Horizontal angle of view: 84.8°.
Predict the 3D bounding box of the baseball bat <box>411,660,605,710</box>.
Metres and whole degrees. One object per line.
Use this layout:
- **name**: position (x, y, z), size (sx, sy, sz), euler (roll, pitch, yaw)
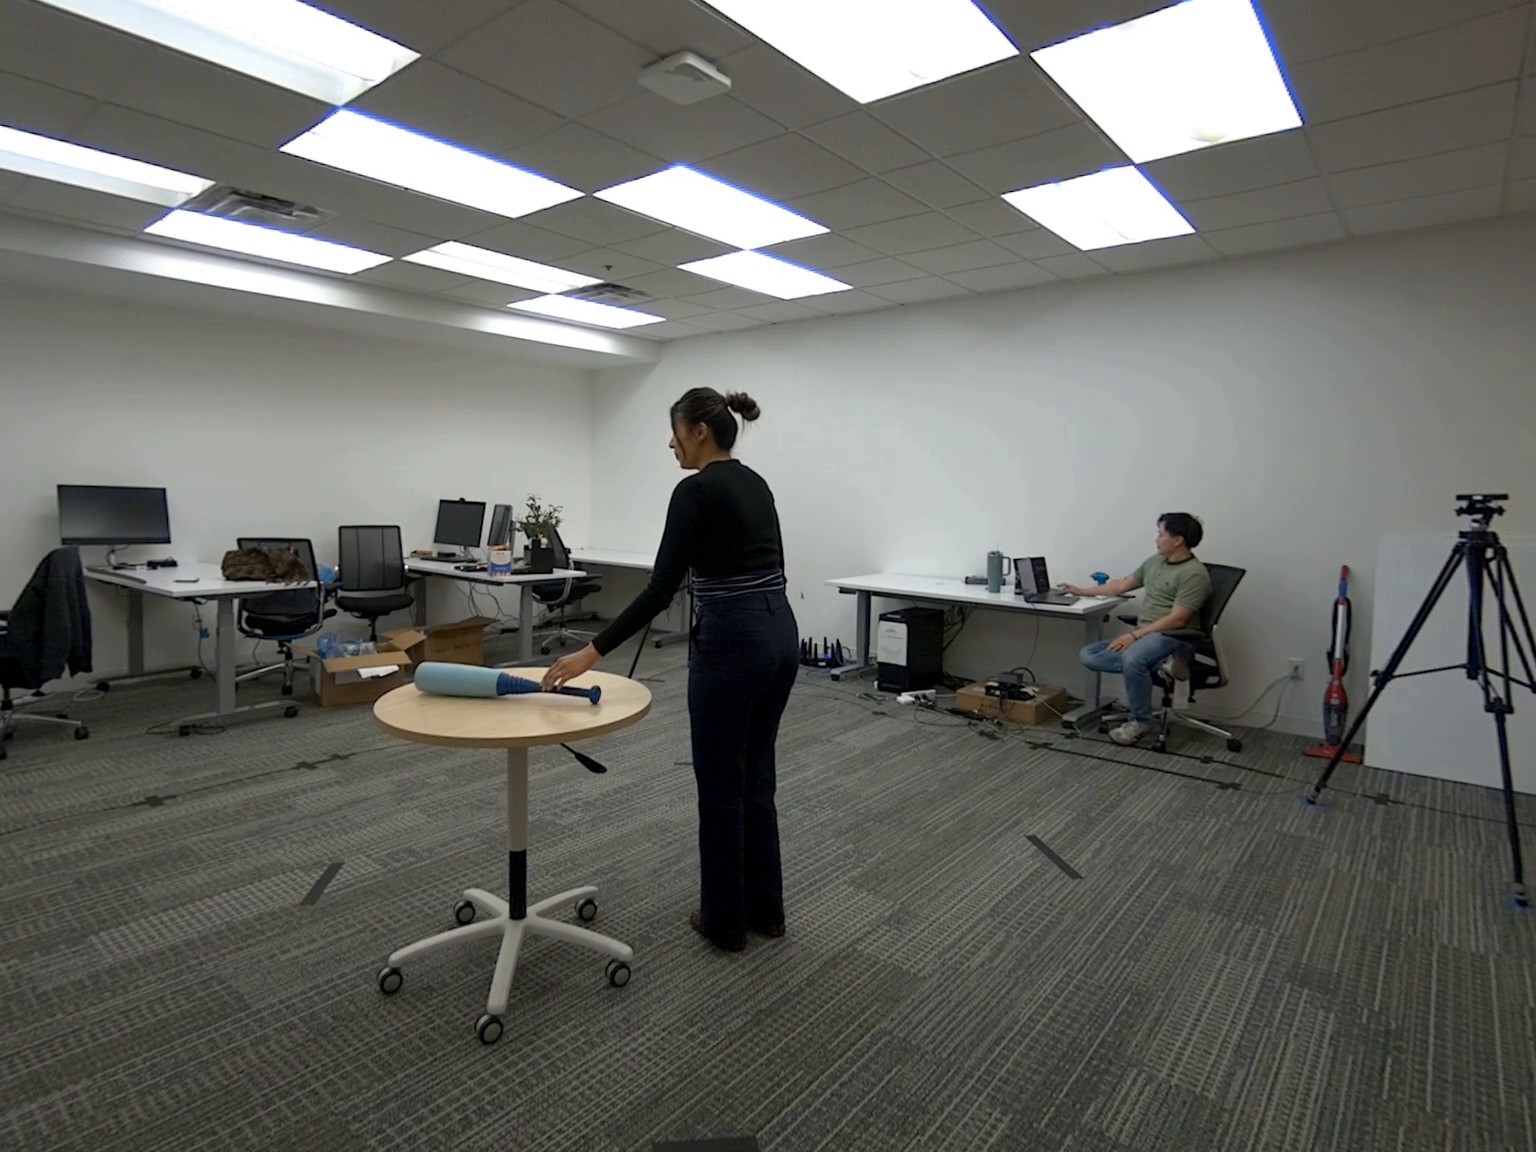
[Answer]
- **baseball bat**: position (-0.746, 0.307, 2.407), size (0.548, 0.089, 0.088), euler (2, 4, 9)
